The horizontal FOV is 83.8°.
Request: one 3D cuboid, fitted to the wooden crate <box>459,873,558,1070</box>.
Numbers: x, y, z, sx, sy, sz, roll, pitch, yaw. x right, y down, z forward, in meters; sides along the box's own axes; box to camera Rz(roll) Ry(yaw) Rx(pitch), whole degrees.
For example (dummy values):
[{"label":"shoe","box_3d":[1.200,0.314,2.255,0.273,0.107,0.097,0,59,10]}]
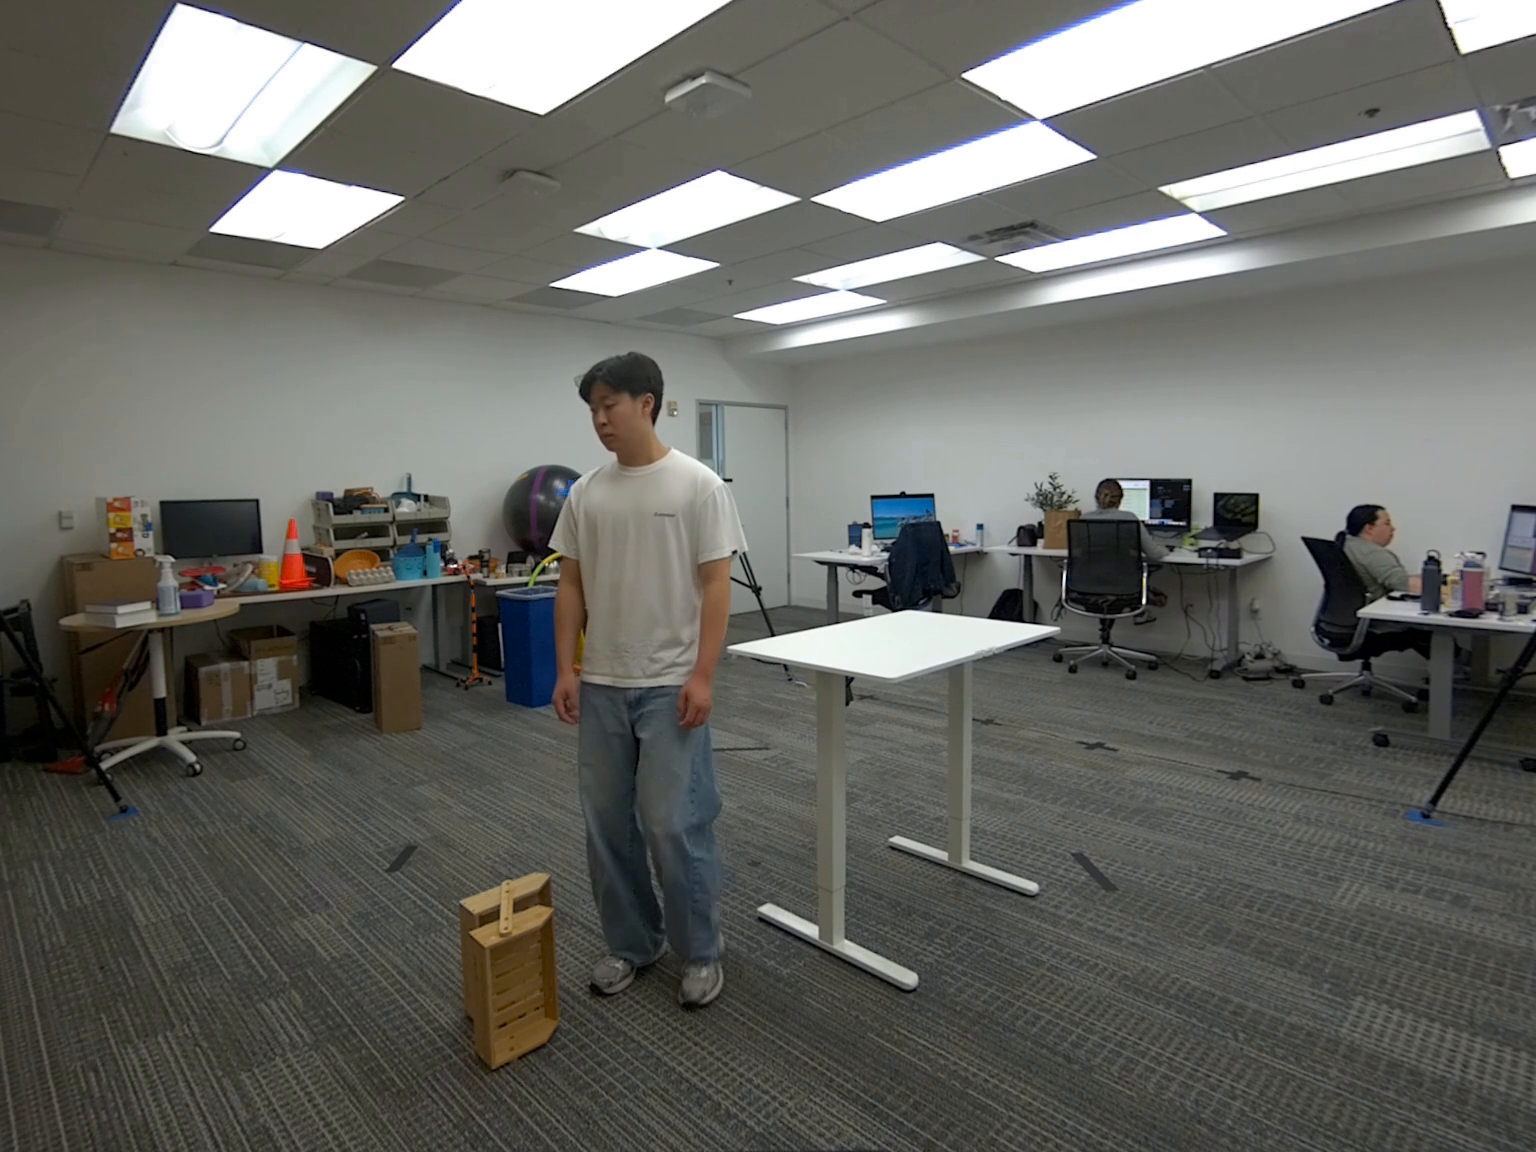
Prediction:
[{"label":"wooden crate","box_3d":[-0.630,1.000,2.200,0.294,0.323,0.281,-7,7,-43]}]
